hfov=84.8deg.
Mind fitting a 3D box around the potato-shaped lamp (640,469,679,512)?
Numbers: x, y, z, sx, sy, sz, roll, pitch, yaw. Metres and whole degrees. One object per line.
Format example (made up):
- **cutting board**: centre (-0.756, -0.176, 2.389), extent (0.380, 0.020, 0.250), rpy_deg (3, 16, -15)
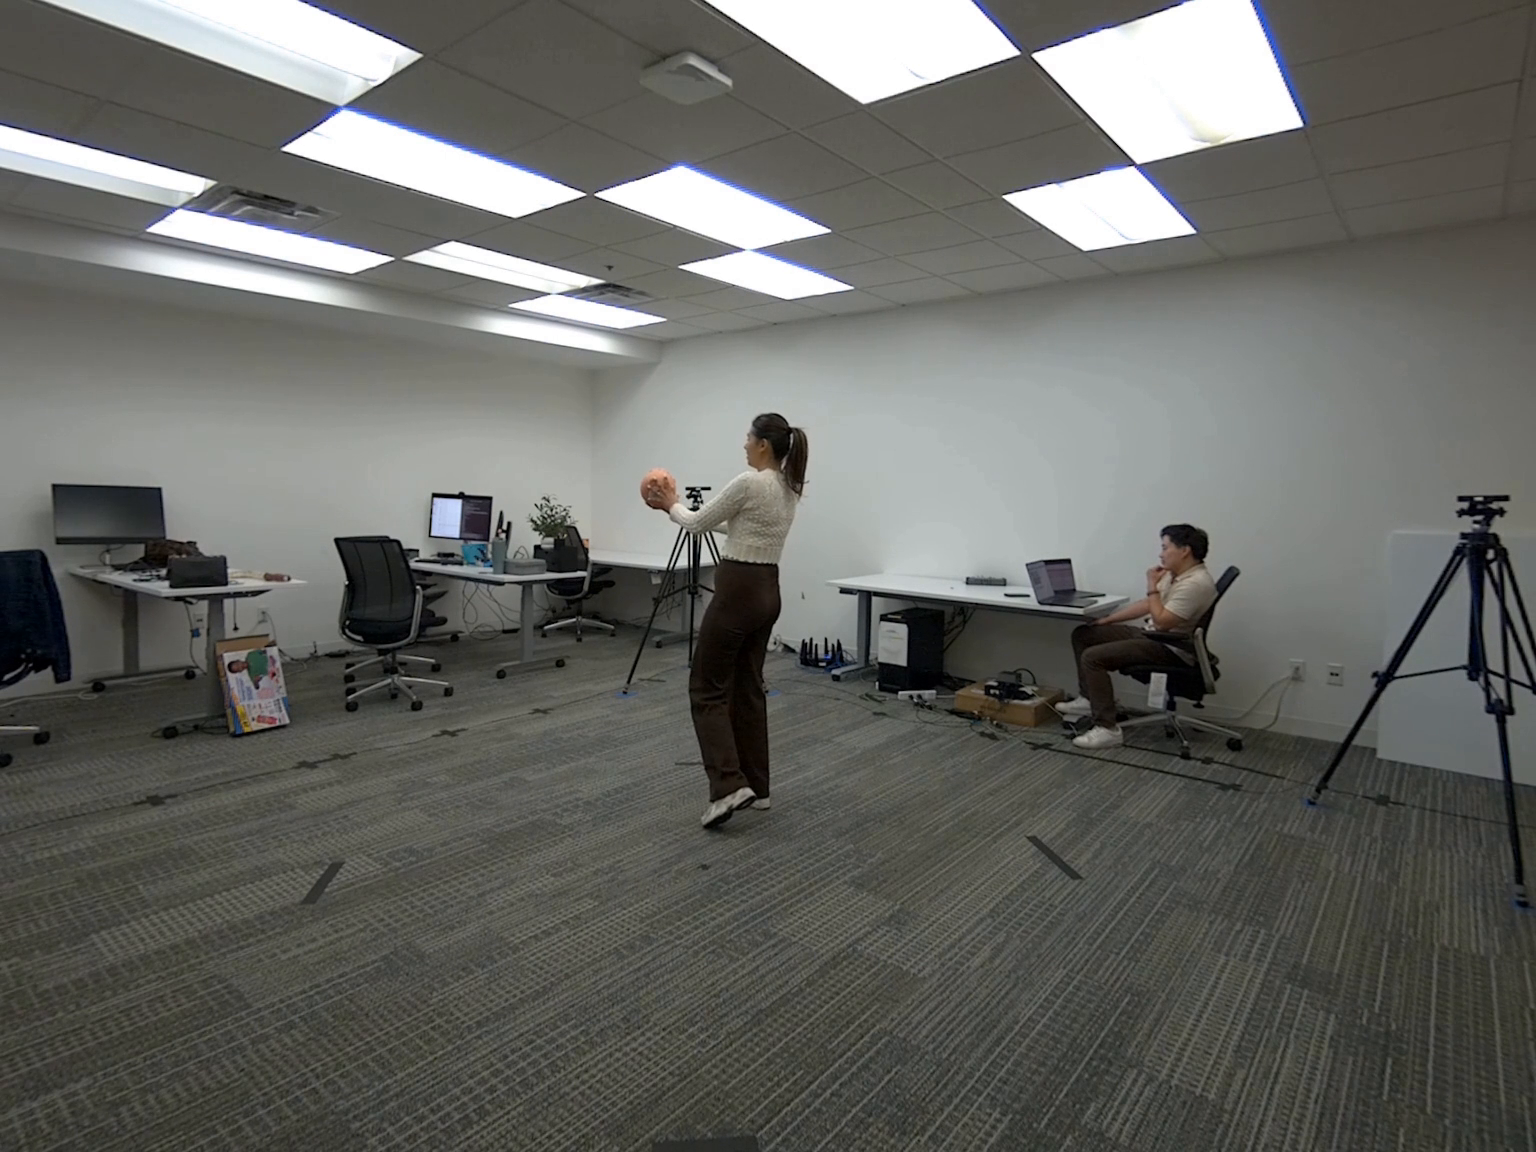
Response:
- **potato-shaped lamp**: centre (-0.528, -0.428, 3.995), extent (0.165, 0.168, 0.201), rpy_deg (-14, 15, -1)
